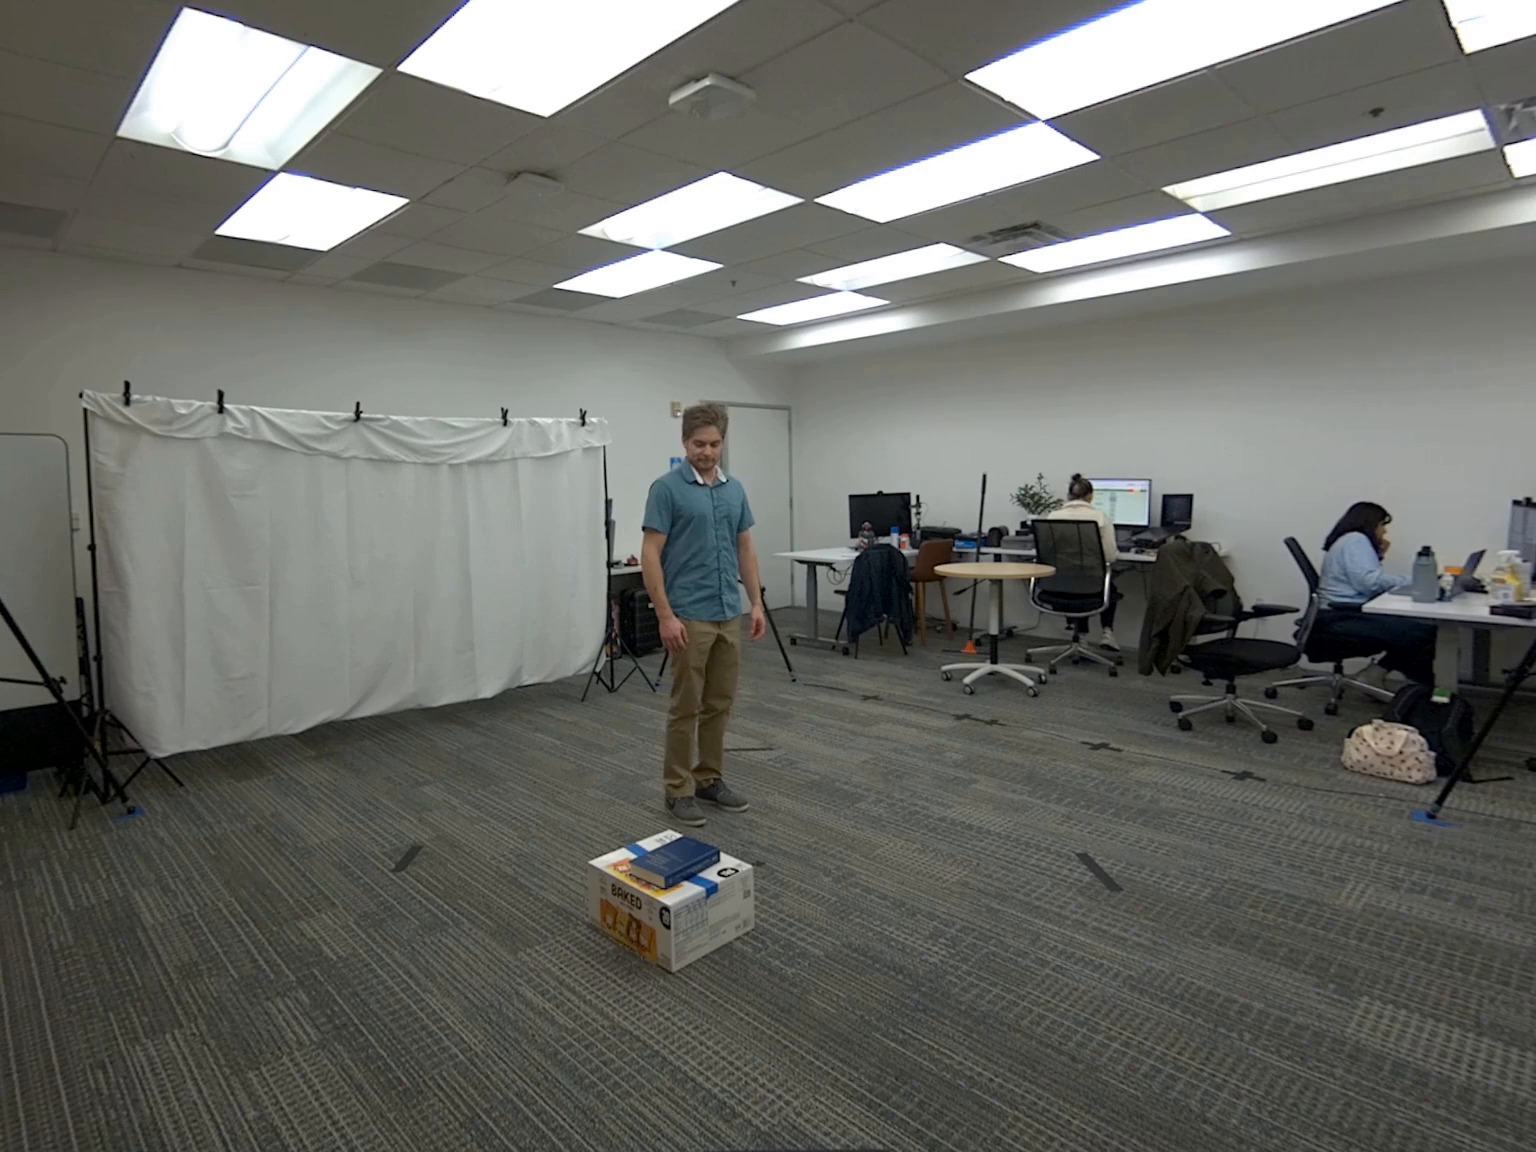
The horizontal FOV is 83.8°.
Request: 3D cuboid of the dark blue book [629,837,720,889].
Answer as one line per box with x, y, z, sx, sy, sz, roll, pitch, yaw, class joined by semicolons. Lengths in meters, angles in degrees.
-0.290;0.894;2.655;0.168;0.045;0.239;3;9;40;dark blue book
